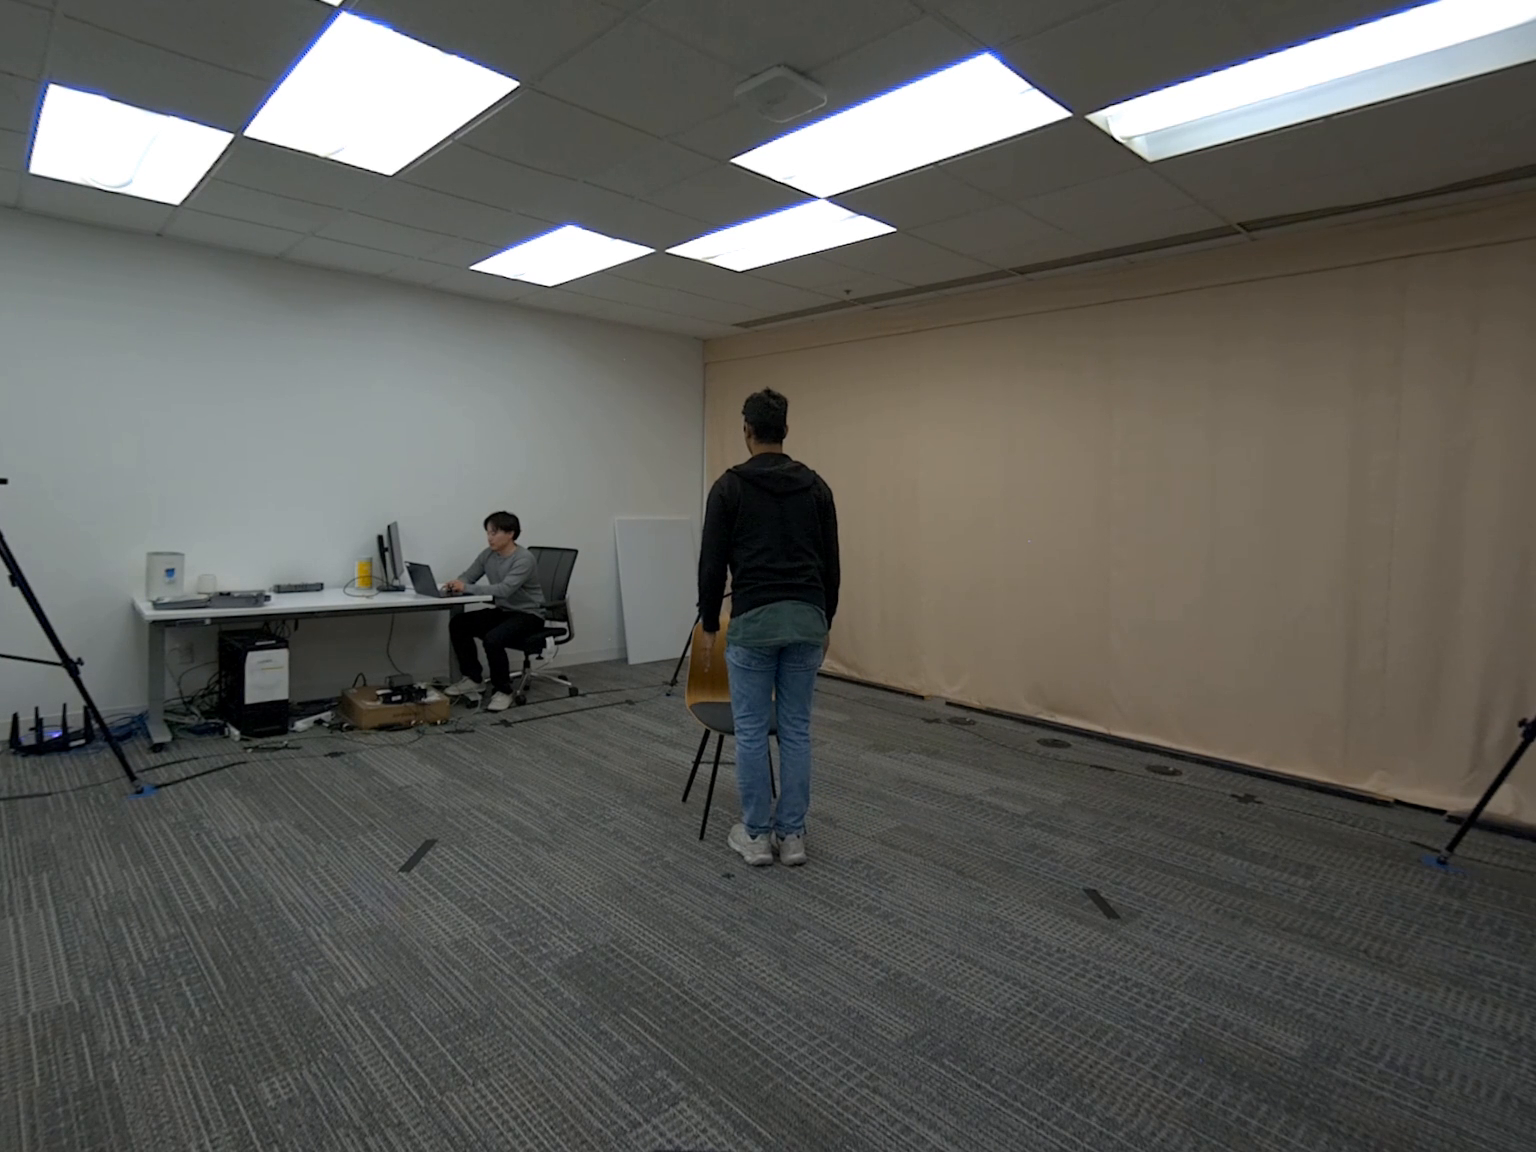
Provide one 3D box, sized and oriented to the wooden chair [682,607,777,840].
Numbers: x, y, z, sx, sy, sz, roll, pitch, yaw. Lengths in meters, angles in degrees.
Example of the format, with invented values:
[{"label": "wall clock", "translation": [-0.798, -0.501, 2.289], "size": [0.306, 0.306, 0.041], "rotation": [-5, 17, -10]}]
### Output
[{"label": "wooden chair", "translation": [-0.113, 0.630, 3.651], "size": [0.473, 0.878, 0.528], "rotation": [2, -1, -14]}]
